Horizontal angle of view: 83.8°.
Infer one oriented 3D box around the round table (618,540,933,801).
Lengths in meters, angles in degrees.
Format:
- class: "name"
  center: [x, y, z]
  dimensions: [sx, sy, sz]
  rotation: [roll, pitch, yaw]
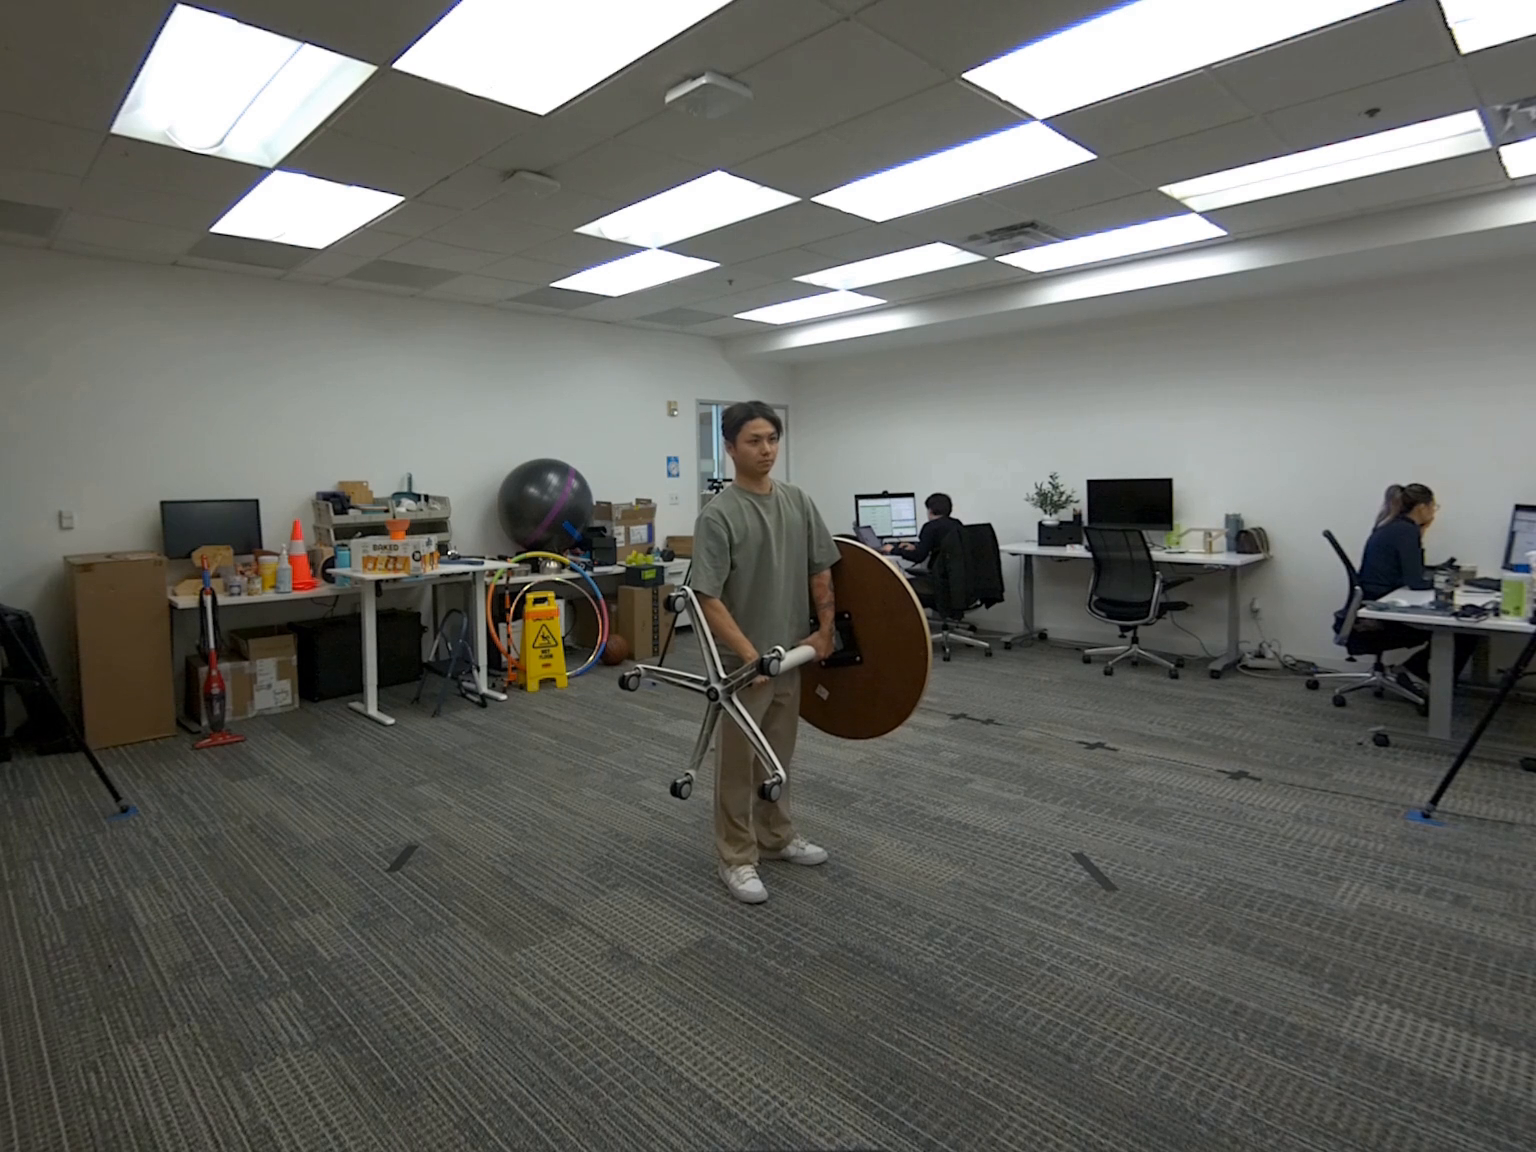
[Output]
- class: "round table"
  center: [0.027, 0.316, 2.904]
  dimensions: [0.809, 0.778, 0.770]
  rotation: [3, 13, 40]
